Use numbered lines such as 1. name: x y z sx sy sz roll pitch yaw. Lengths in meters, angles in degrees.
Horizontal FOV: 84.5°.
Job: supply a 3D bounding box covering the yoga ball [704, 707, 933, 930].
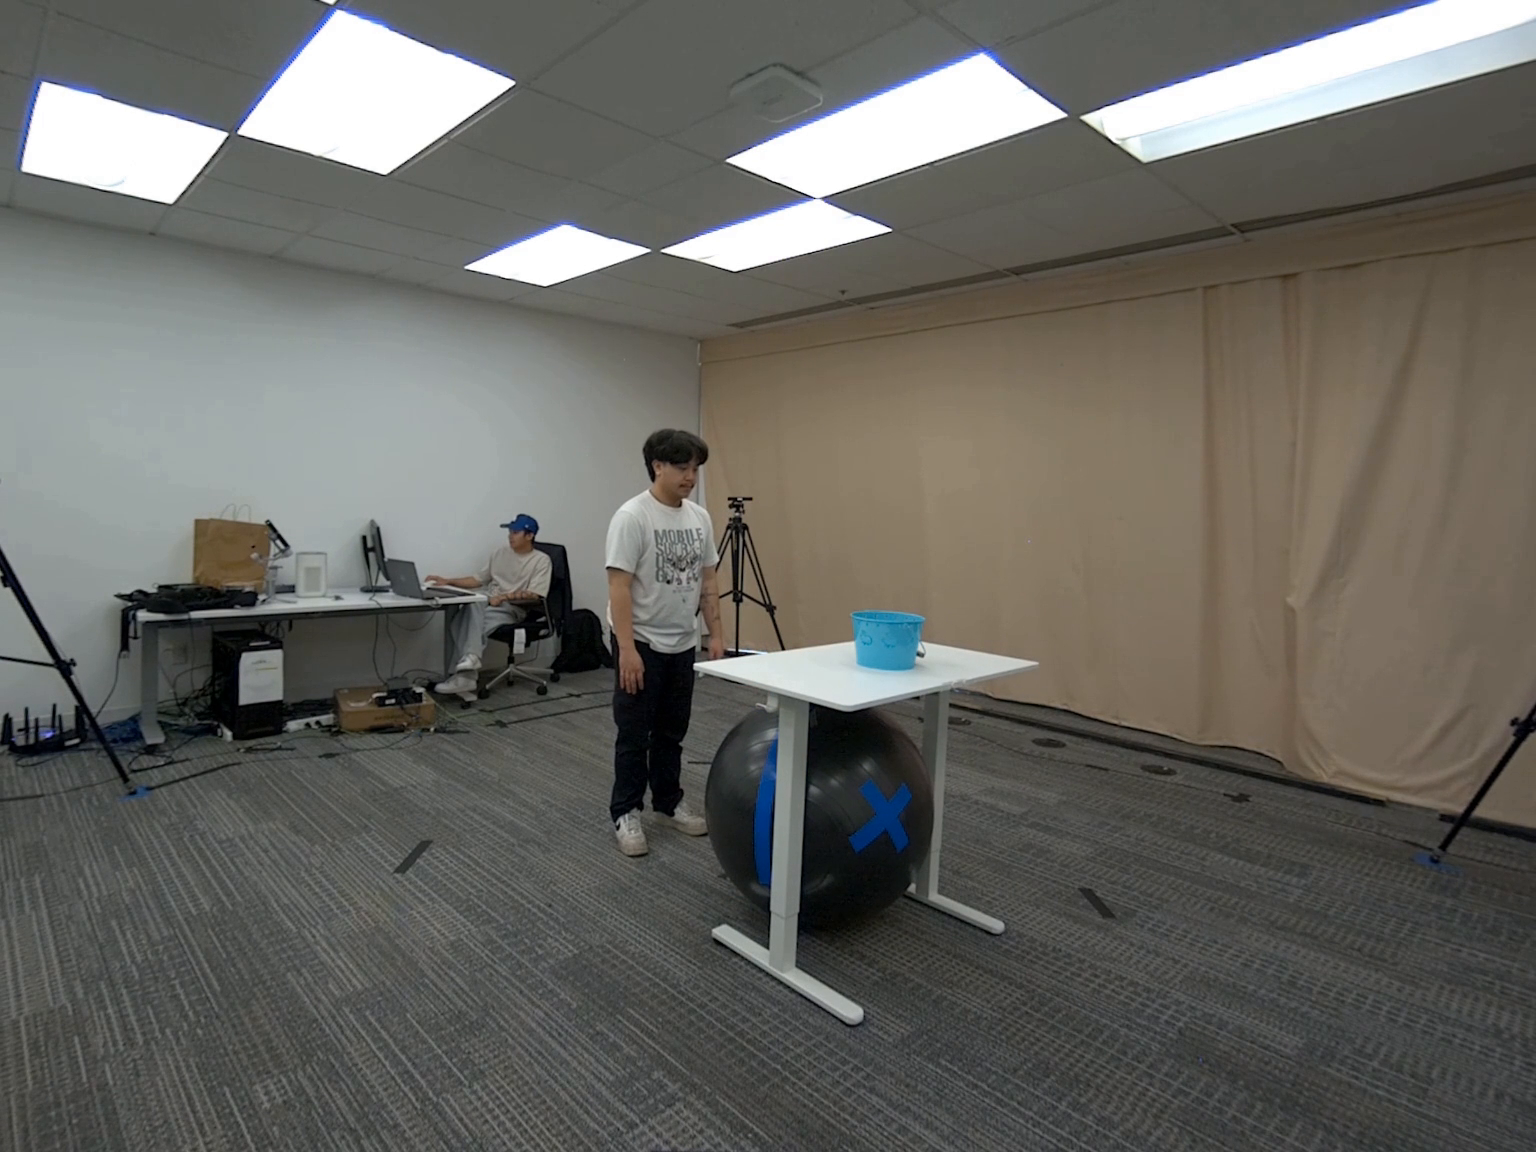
1. yoga ball: 0.167 0.776 2.829 0.757 0.756 0.761 1 4 -1
